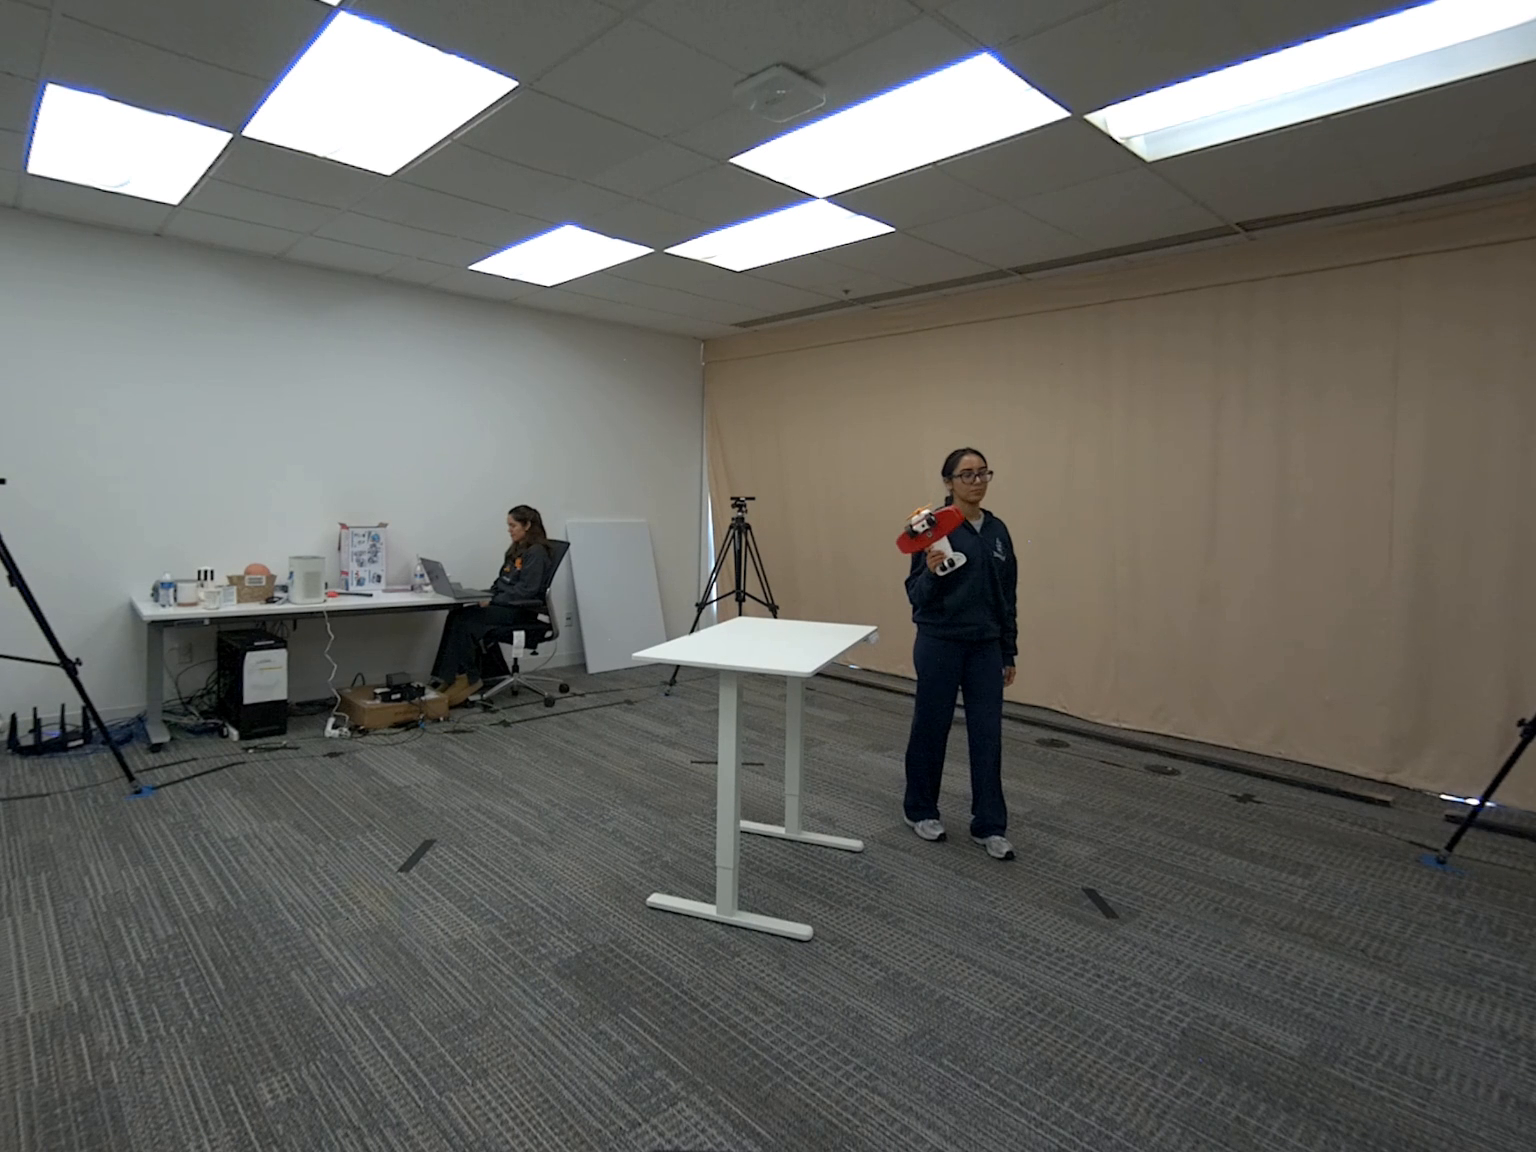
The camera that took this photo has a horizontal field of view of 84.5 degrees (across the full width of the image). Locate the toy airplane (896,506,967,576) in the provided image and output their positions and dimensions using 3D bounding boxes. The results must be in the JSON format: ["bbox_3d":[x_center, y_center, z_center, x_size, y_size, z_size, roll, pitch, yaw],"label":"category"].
[{"bbox_3d":[0.599,-0.133,3.172,0.254,0.256,0.156,-3,18,17],"label":"toy airplane"}]
